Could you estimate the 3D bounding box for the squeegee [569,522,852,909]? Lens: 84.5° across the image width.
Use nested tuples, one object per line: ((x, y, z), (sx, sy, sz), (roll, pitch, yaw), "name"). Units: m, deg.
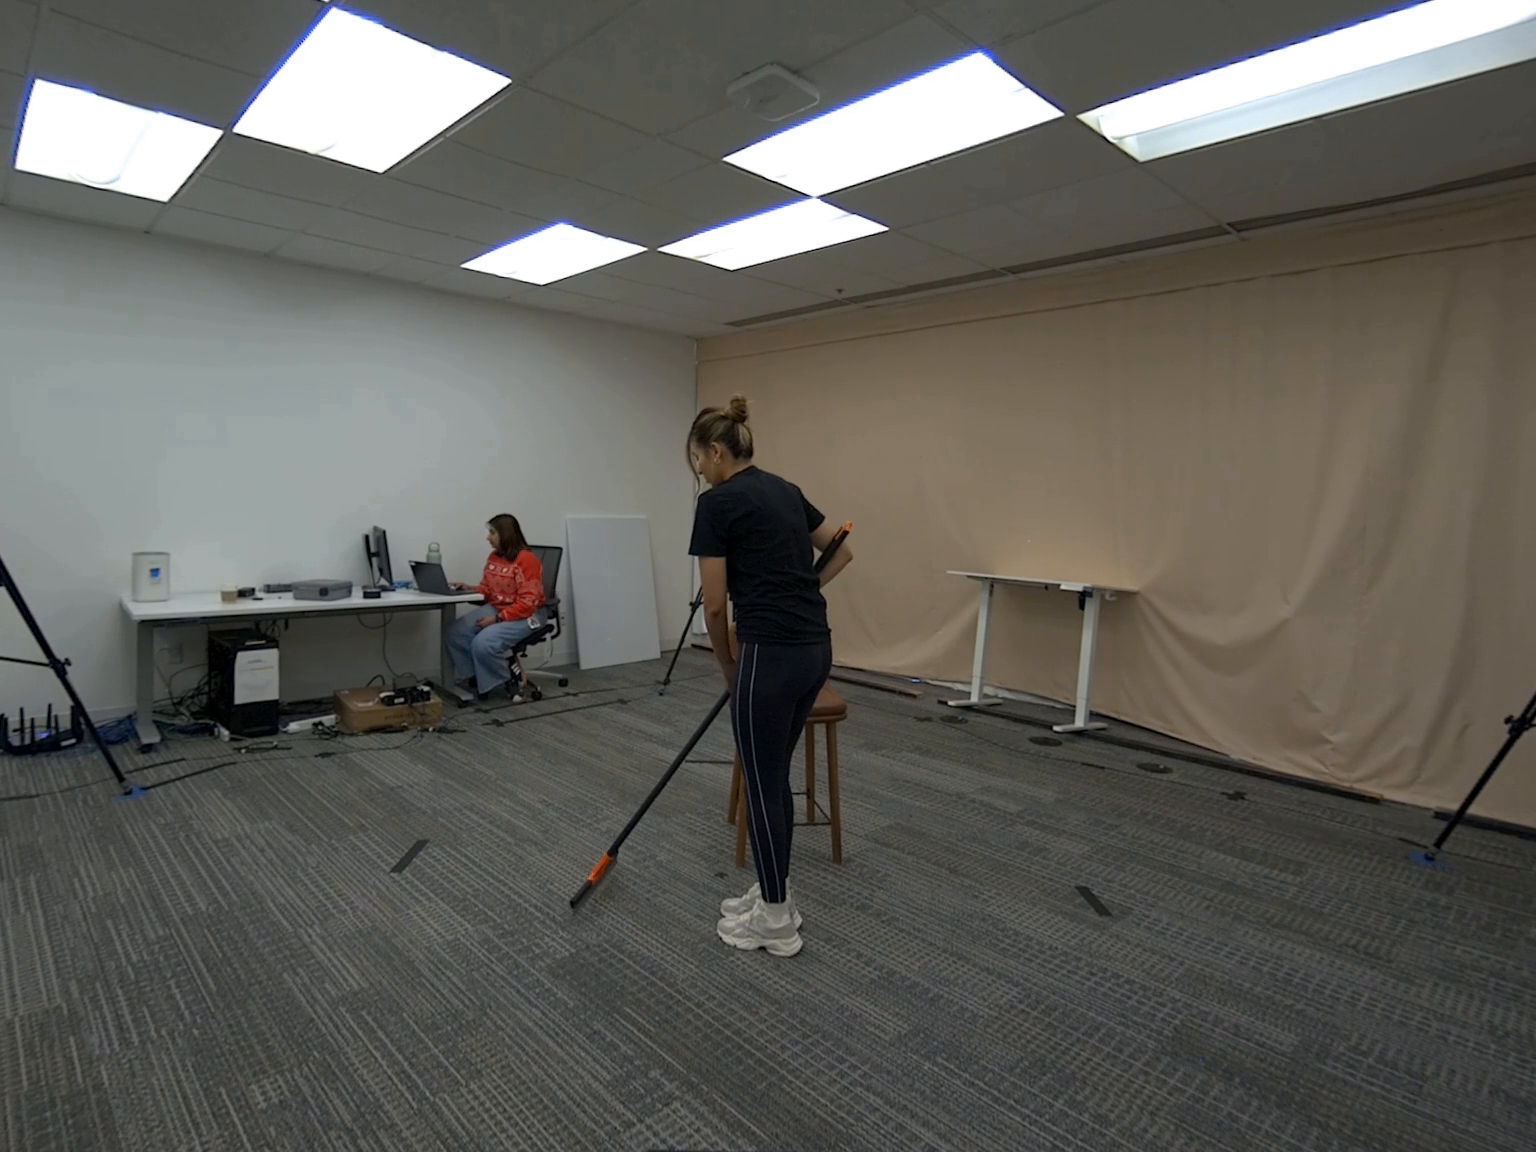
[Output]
((-0.186, 0.462, 2.818), (0.053, 1.536, 0.435), (38, 7, 3), "squeegee")
